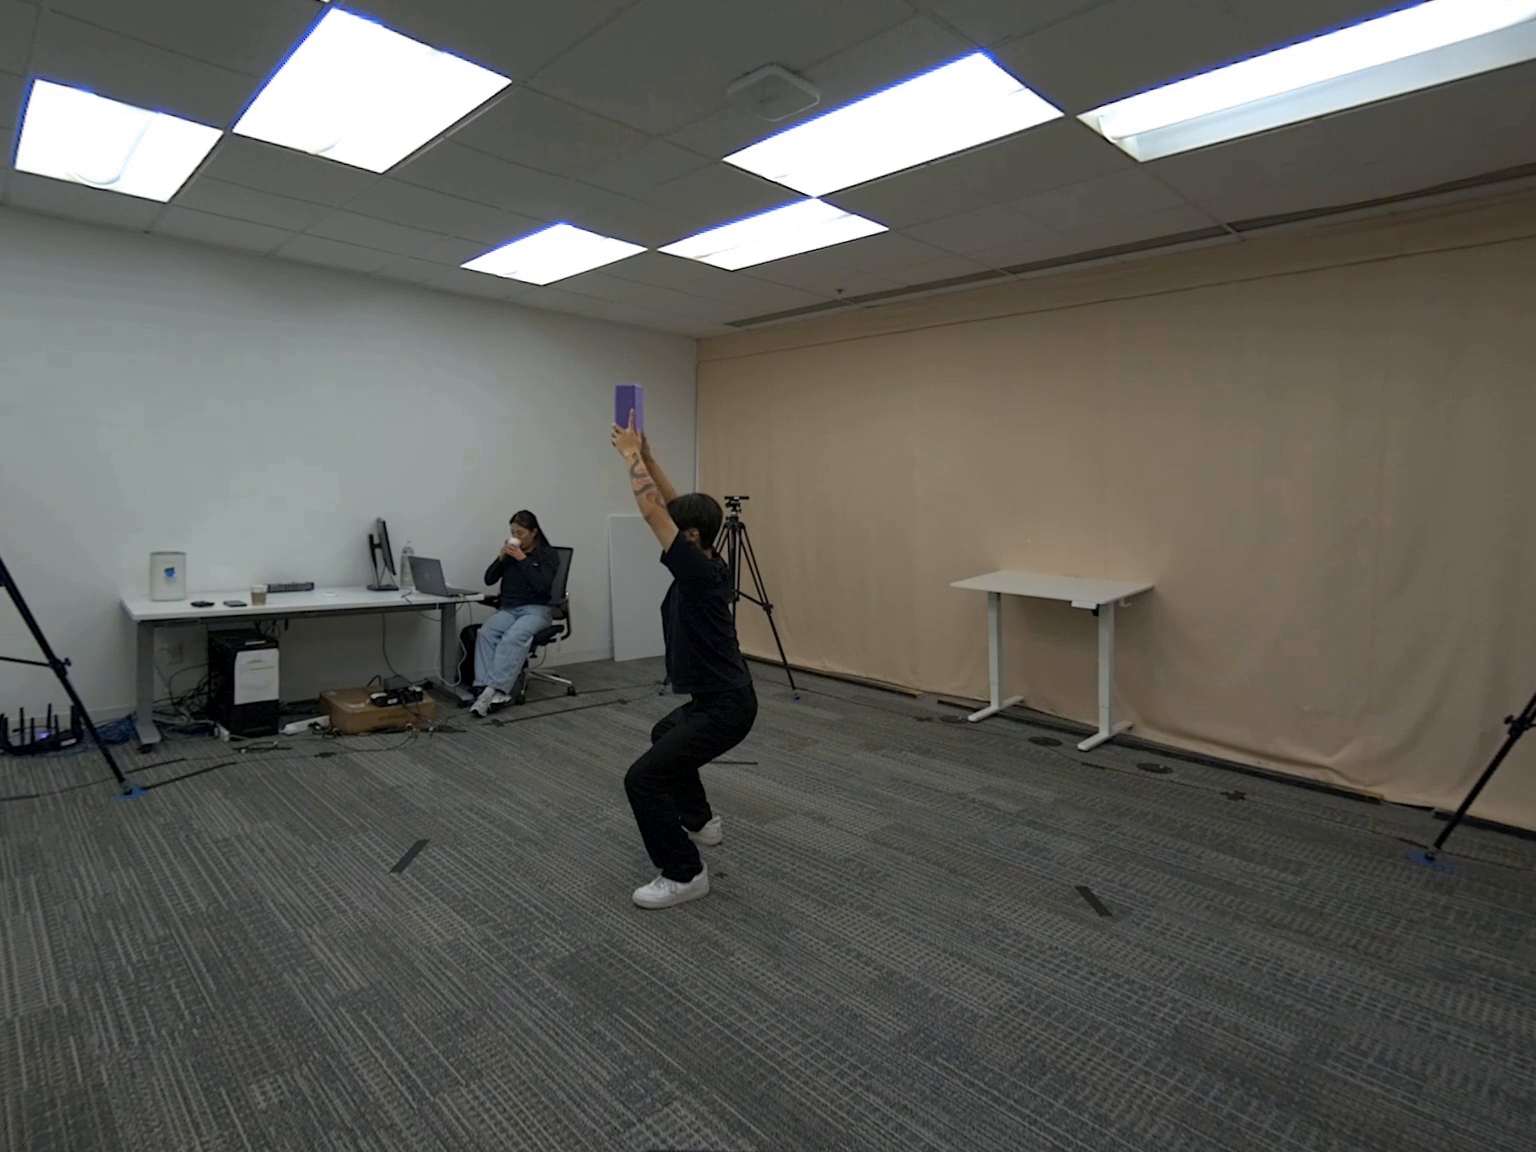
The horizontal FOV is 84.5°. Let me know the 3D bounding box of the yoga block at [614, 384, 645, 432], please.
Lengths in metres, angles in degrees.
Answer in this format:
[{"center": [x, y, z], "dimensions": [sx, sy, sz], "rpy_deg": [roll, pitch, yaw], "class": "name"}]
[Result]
[{"center": [-0.525, -0.593, 3.111], "dimensions": [0.077, 0.228, 0.149], "rpy_deg": [1, 9, 5], "class": "yoga block"}]
